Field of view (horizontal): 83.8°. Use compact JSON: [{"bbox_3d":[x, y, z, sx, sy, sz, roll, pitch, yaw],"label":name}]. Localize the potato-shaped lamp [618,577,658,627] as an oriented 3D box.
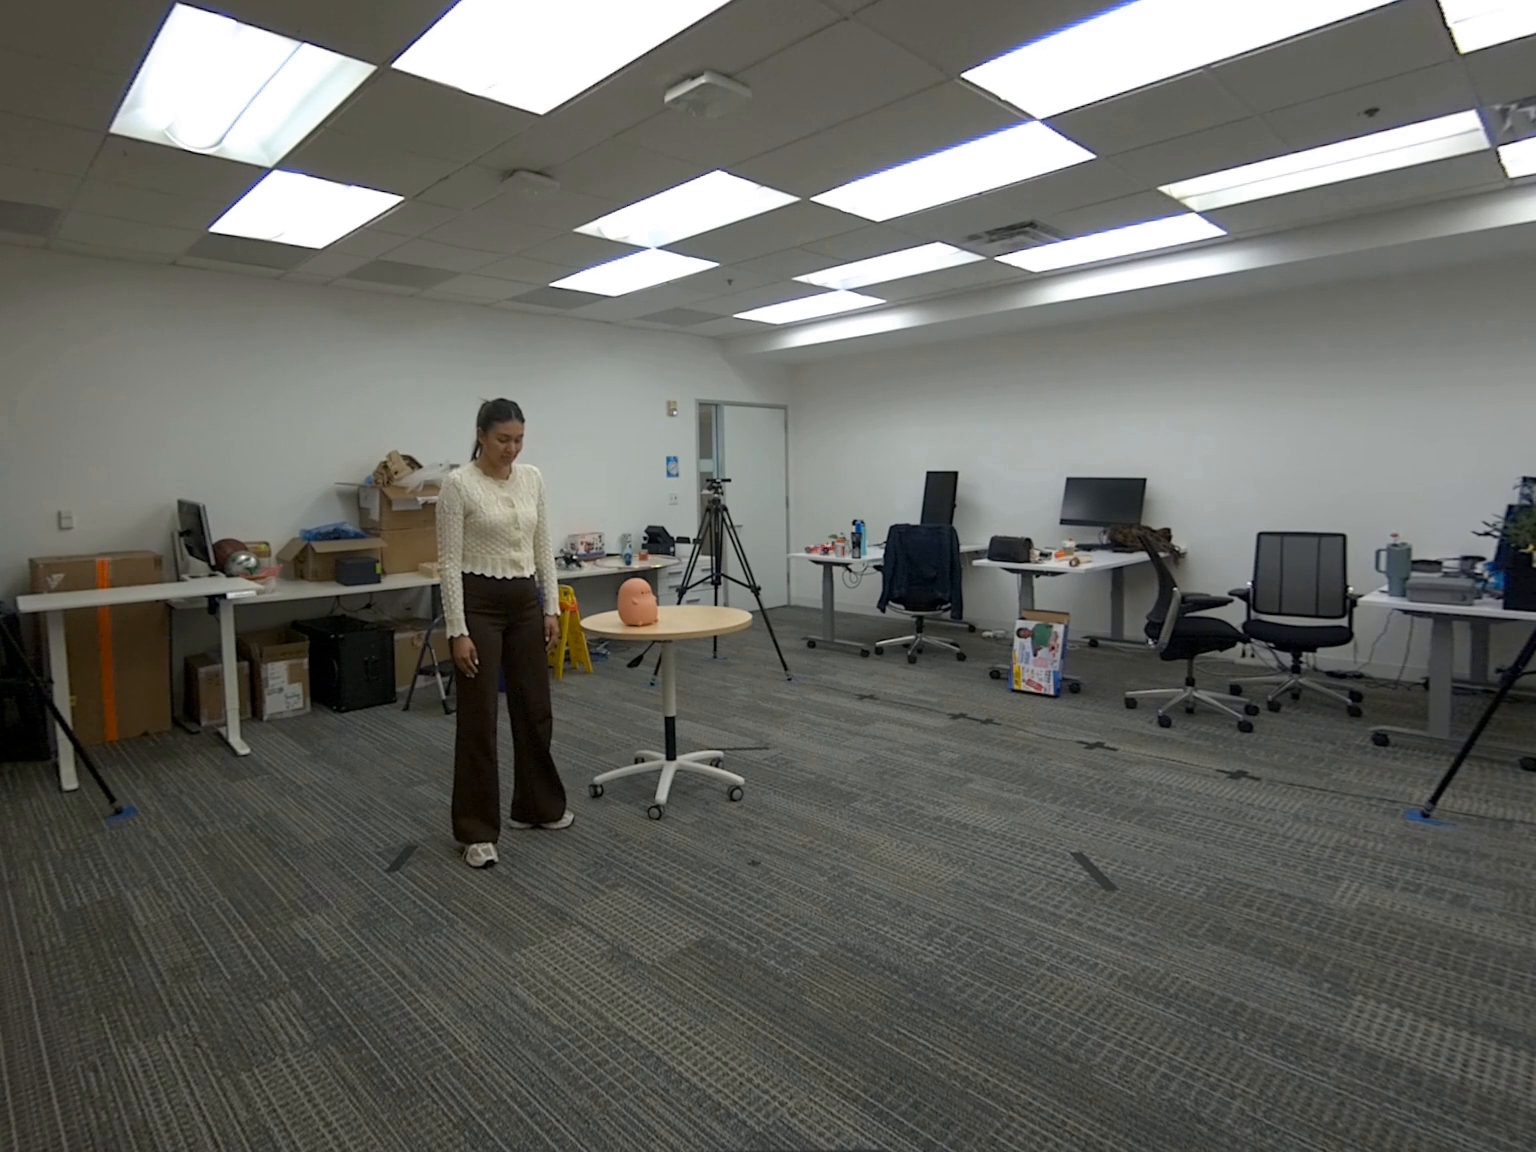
[{"bbox_3d":[-0.561,0.109,3.678,0.161,0.197,0.176,-12,9,-43],"label":"potato-shaped lamp"}]
